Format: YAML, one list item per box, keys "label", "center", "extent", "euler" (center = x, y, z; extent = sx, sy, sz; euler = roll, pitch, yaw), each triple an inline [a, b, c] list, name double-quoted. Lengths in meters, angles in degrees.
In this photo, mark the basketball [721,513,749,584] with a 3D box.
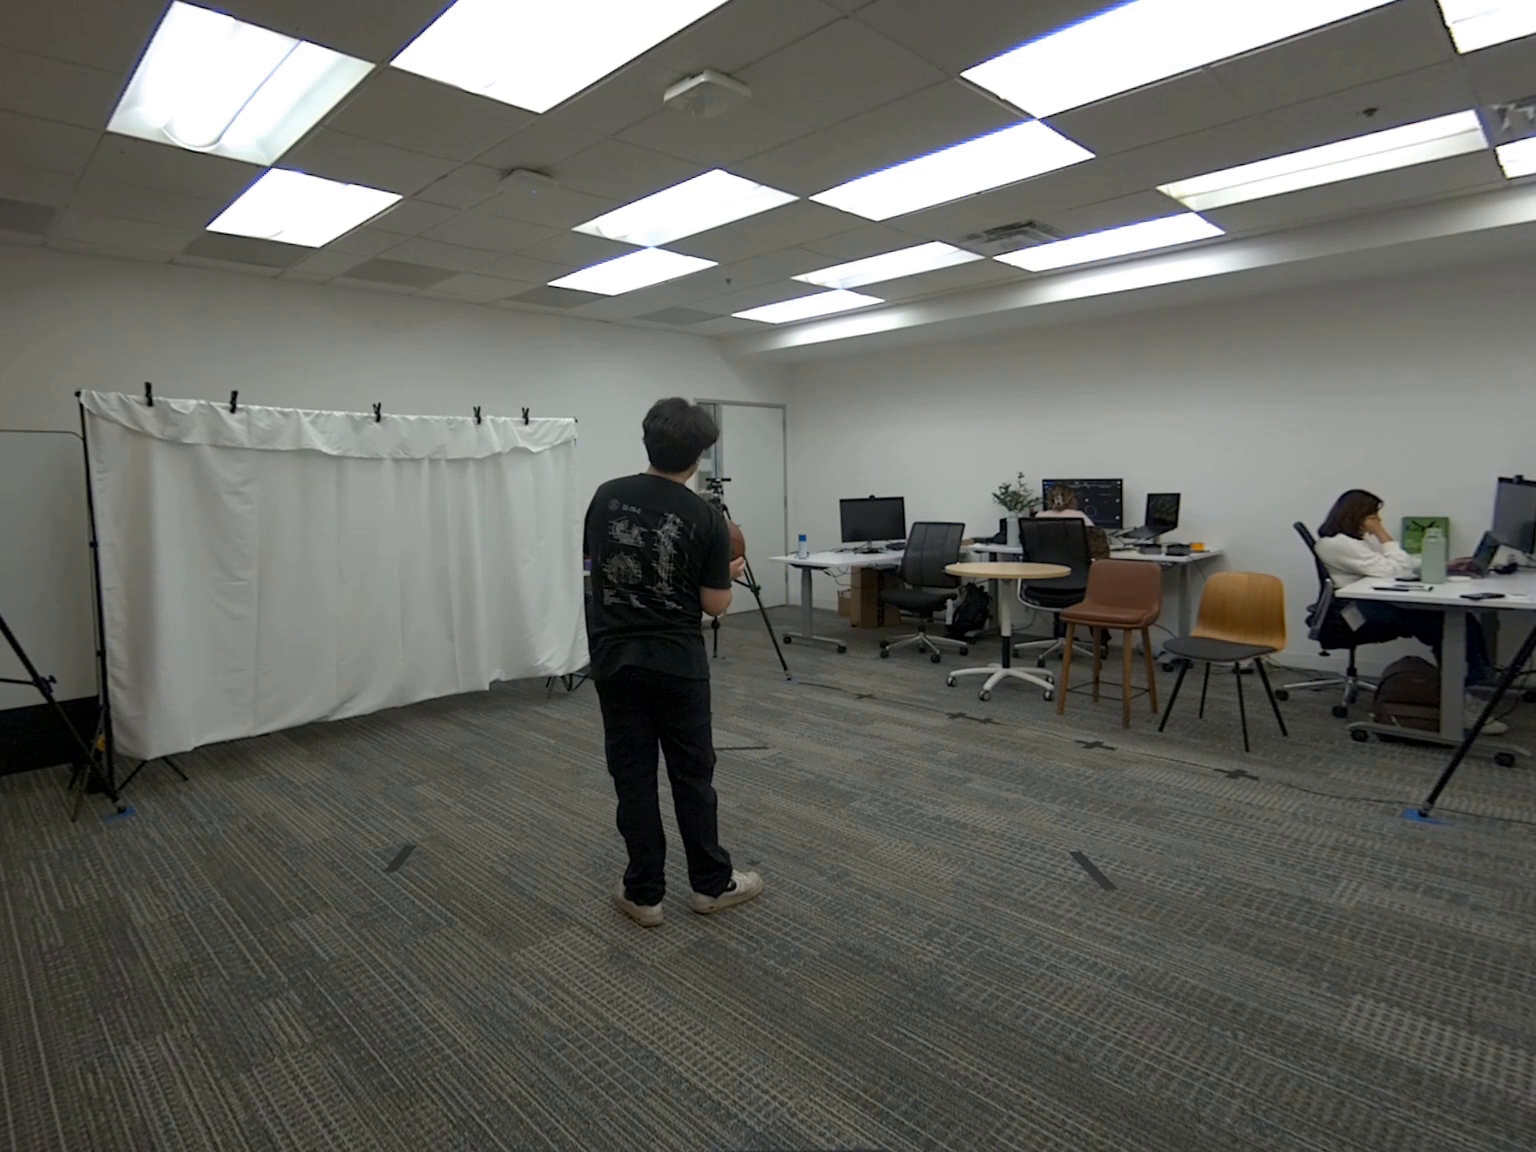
- label: "basketball"
  center: [-0.196, -0.103, 3.064]
  extent: [0.236, 0.235, 0.237]
  euler: [-1, 5, -2]
